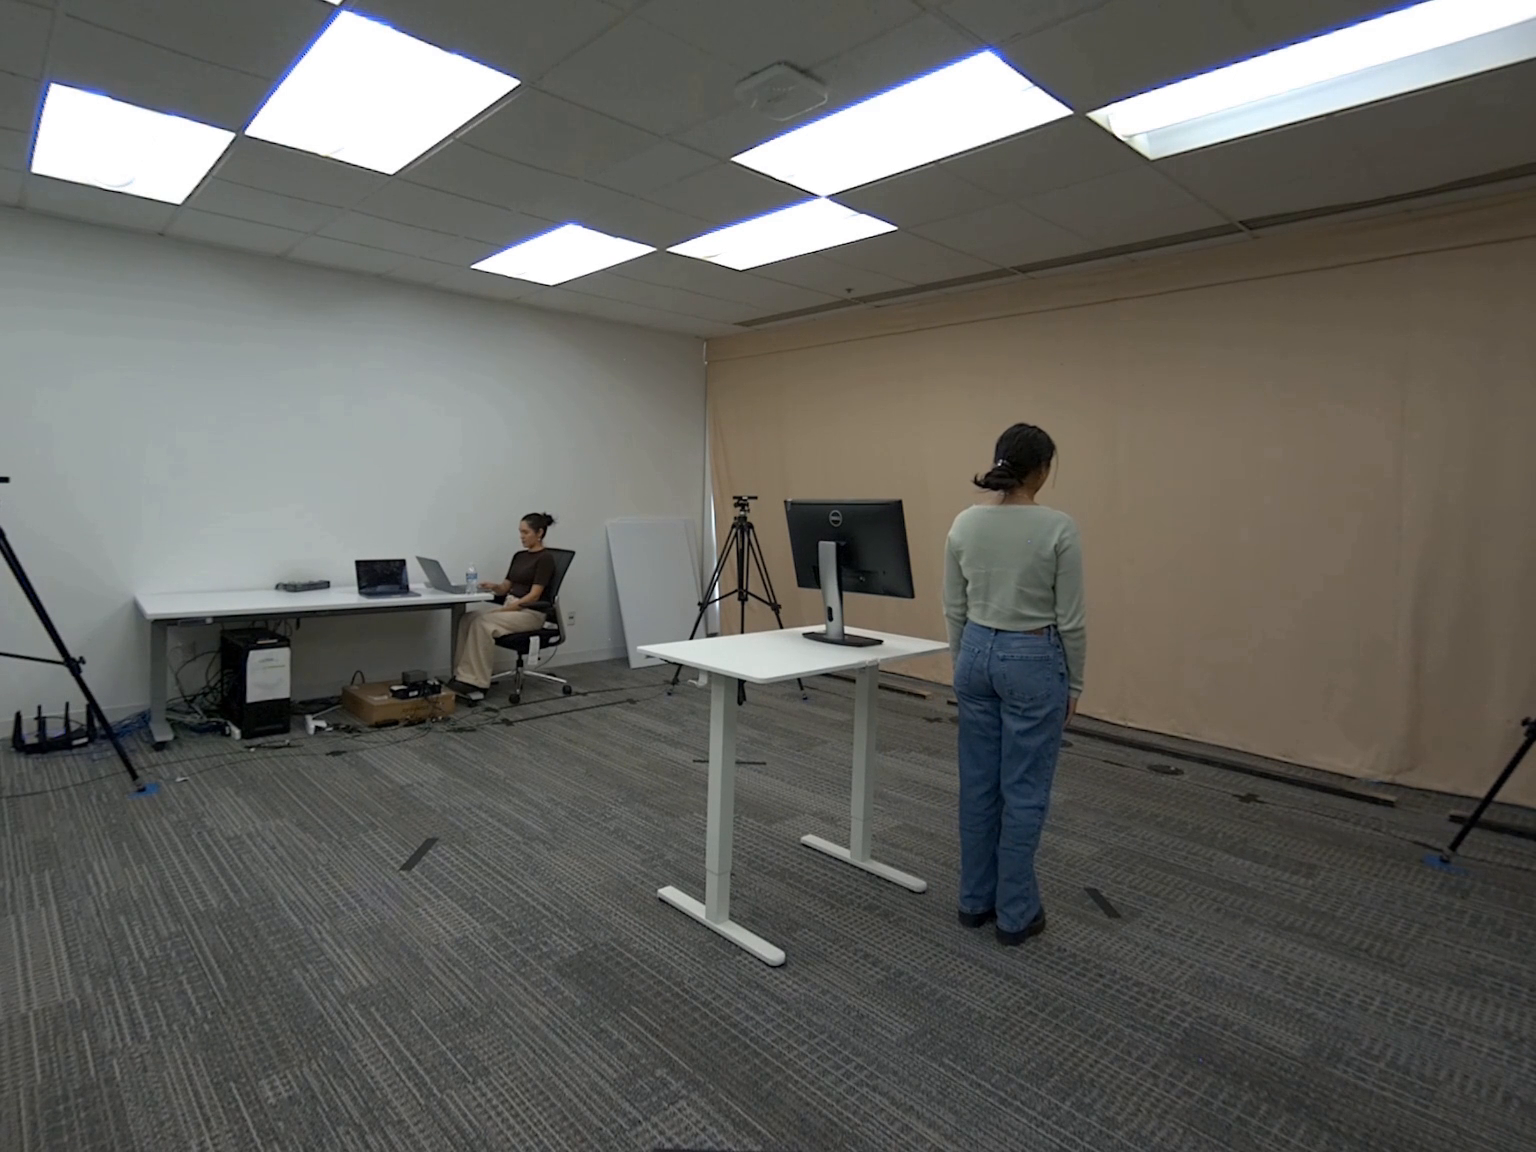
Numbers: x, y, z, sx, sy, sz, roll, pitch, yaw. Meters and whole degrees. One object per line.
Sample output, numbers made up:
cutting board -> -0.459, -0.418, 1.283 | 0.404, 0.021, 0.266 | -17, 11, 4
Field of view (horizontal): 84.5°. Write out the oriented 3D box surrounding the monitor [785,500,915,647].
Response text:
monitor -> 0.248, -0.014, 3.042 | 0.183, 0.521, 0.553 | -5, 7, -44
